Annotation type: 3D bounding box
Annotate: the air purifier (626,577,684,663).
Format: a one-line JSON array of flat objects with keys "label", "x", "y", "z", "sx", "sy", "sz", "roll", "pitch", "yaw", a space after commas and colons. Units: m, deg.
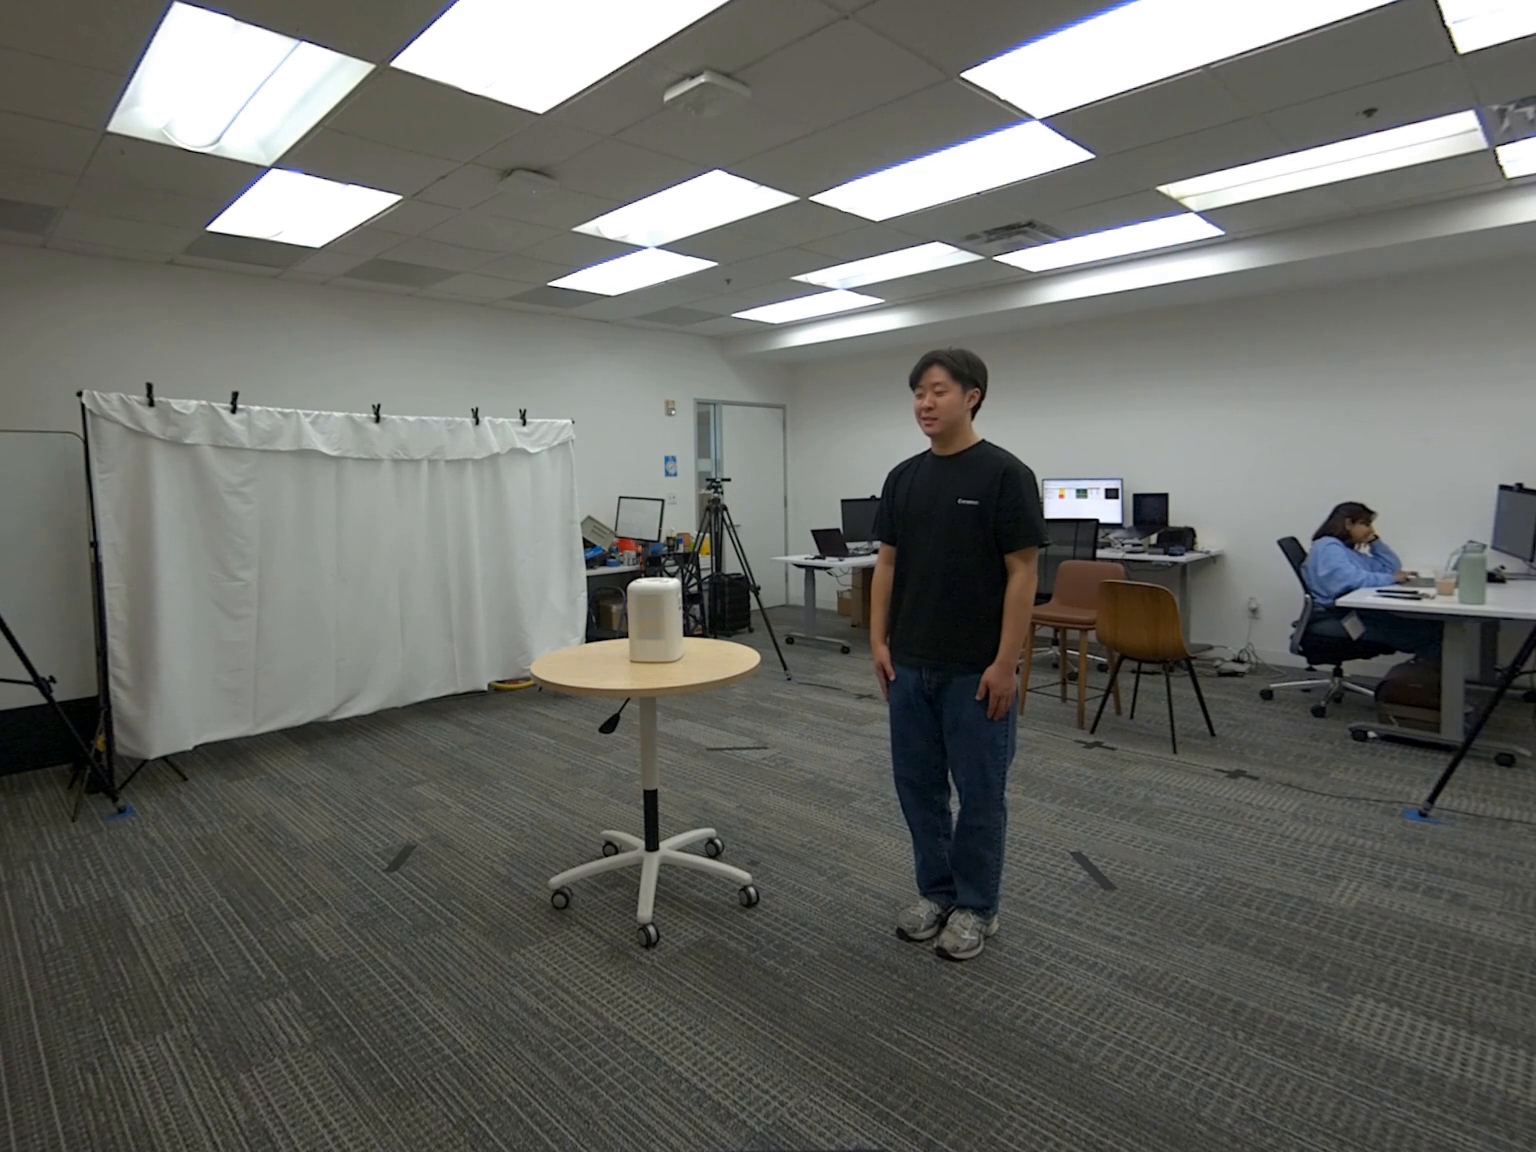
[{"label": "air purifier", "x": -0.378, "y": 0.146, "z": 2.883, "sx": 0.173, "sy": 0.264, "sz": 0.170, "roll": 0, "pitch": 5, "yaw": 9}]
